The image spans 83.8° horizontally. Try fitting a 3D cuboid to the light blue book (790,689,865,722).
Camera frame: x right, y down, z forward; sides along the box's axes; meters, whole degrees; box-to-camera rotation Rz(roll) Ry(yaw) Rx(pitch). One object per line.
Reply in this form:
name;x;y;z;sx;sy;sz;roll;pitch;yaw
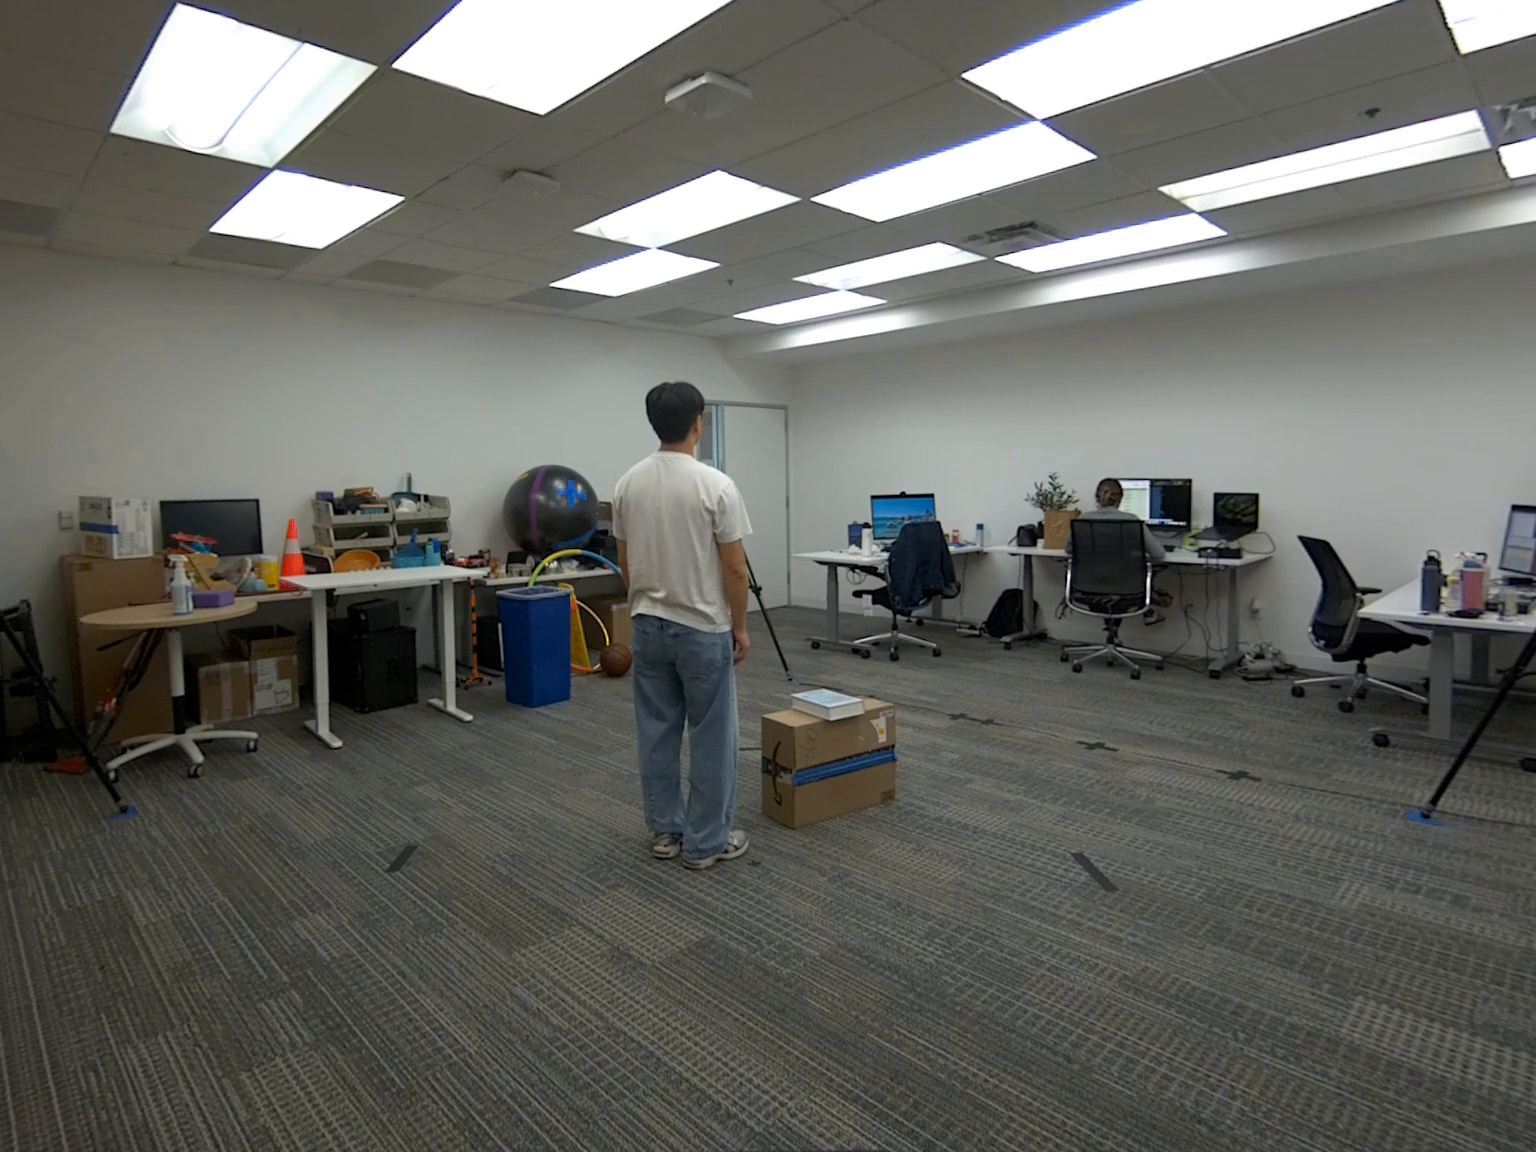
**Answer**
light blue book;0.254;0.540;3.607;0.187;0.059;0.268;-6;7;-34
